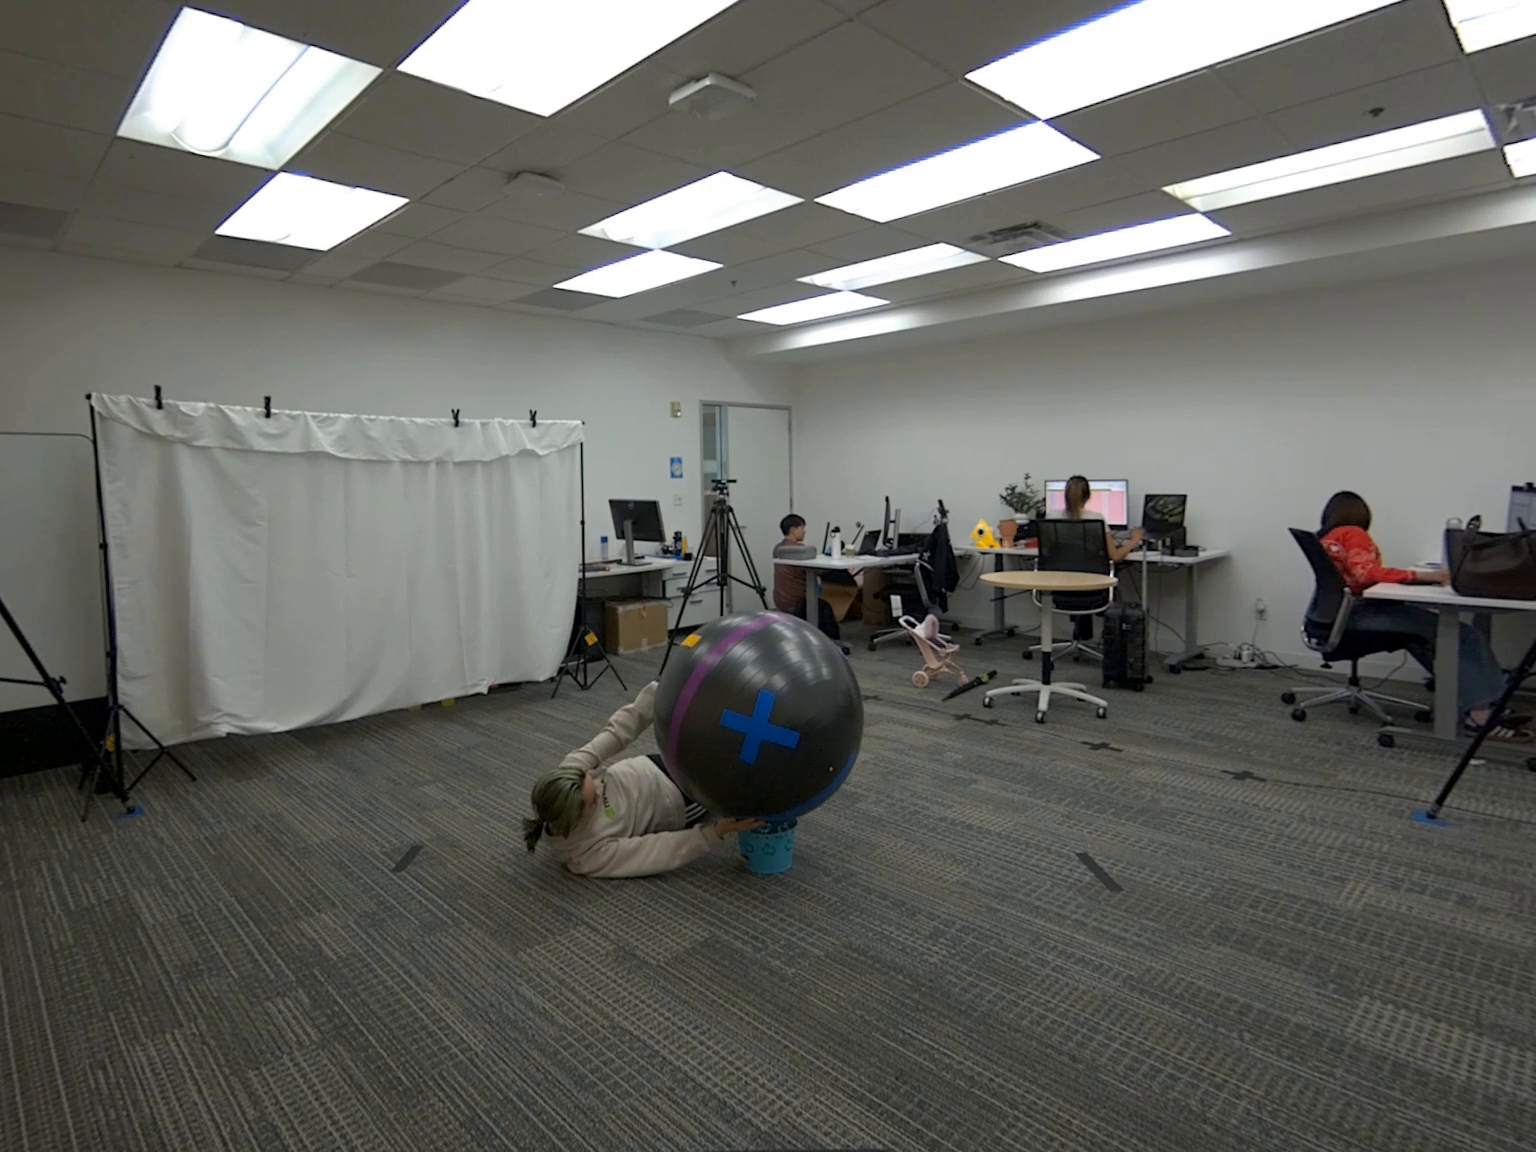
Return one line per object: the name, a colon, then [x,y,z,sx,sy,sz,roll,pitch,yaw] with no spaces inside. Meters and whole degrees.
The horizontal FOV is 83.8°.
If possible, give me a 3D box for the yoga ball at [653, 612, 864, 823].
yoga ball: [-0.040,0.499,3.094,0.757,0.755,0.762,-1,5,-2]
